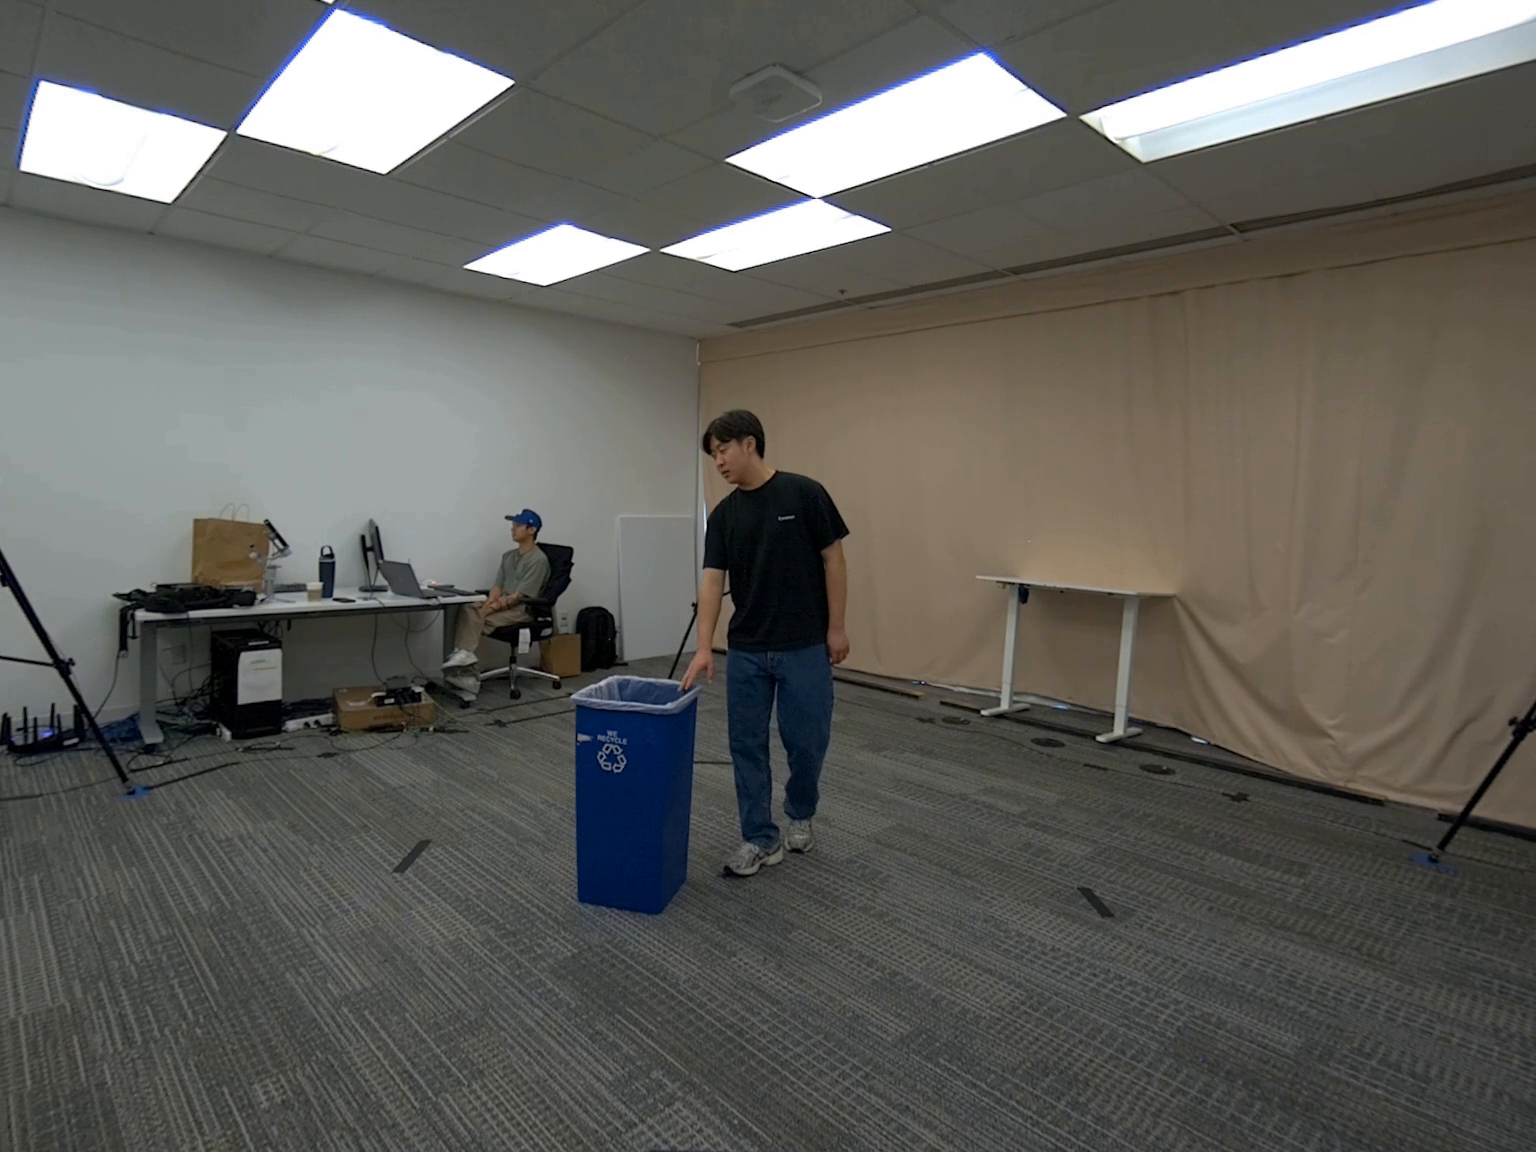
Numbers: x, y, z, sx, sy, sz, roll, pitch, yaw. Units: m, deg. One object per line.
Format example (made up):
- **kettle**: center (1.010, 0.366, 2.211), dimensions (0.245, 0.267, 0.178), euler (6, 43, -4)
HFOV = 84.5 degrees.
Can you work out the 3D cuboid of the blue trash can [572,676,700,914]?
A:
- **blue trash can**: center (-0.474, 0.756, 2.953), dimensions (0.378, 0.712, 0.374), euler (4, 4, 14)
